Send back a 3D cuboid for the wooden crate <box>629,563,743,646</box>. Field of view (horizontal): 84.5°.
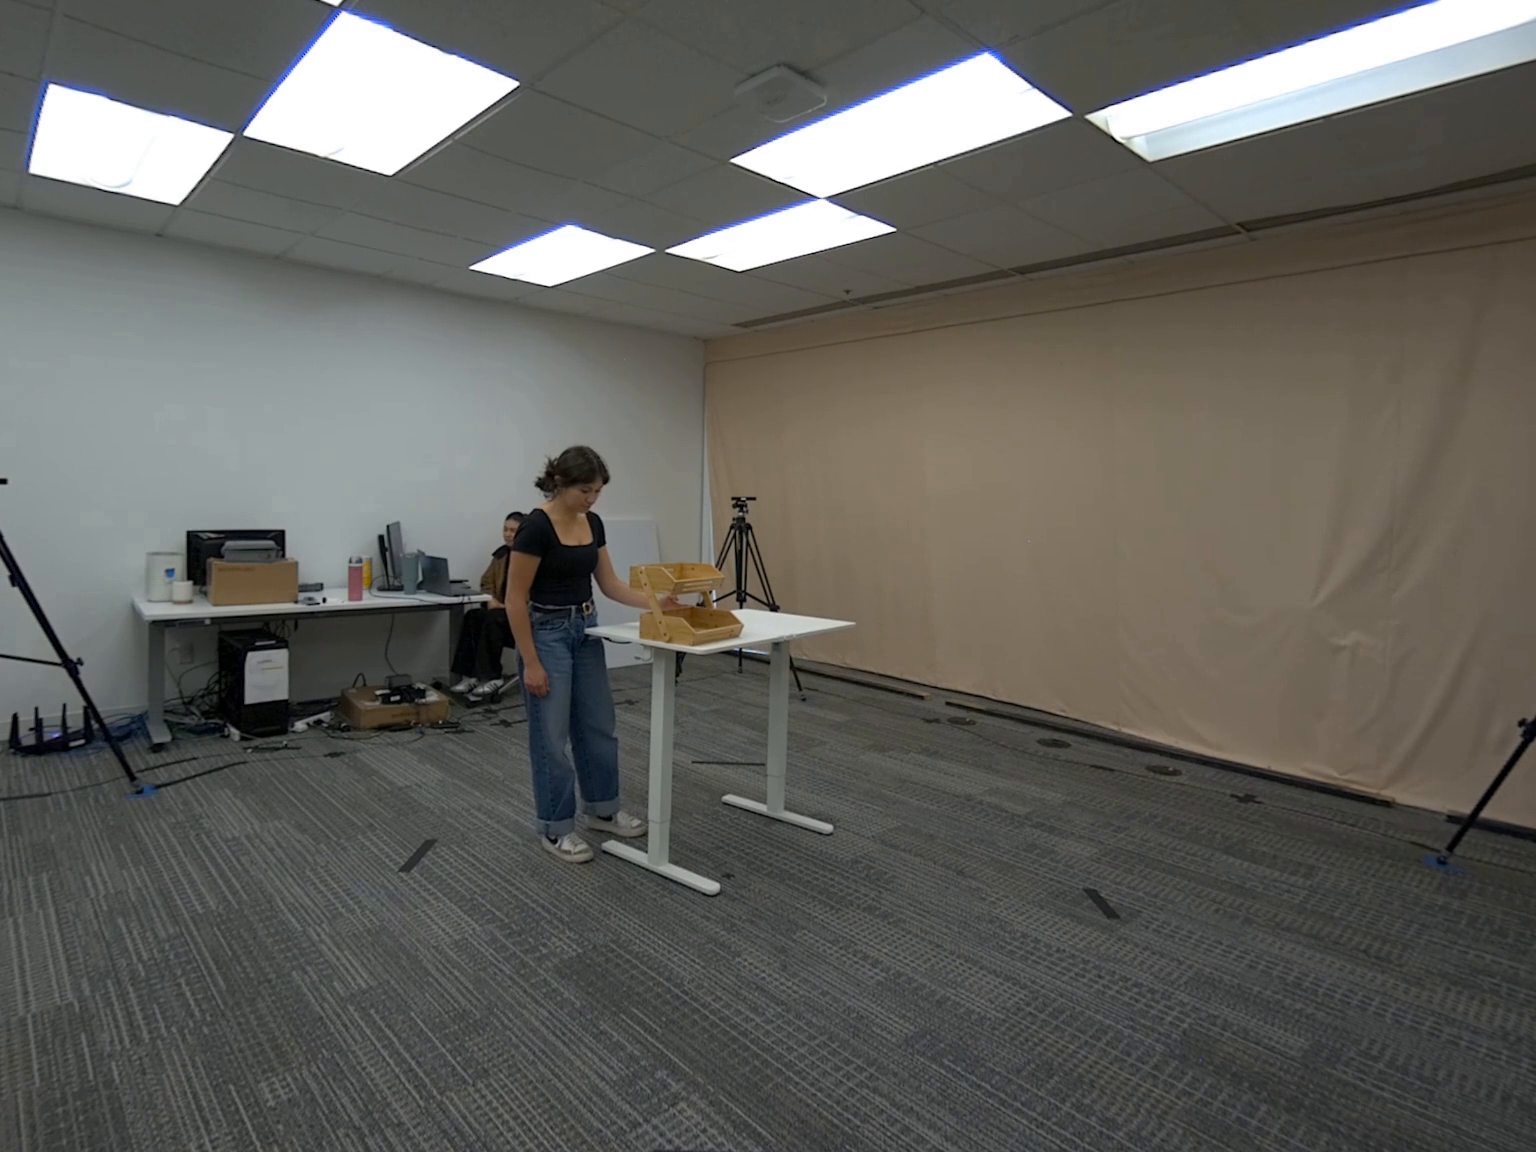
[{"bbox_3d":[-0.298,0.089,3.054,0.309,0.273,0.318,3,4,33],"label":"wooden crate"}]
